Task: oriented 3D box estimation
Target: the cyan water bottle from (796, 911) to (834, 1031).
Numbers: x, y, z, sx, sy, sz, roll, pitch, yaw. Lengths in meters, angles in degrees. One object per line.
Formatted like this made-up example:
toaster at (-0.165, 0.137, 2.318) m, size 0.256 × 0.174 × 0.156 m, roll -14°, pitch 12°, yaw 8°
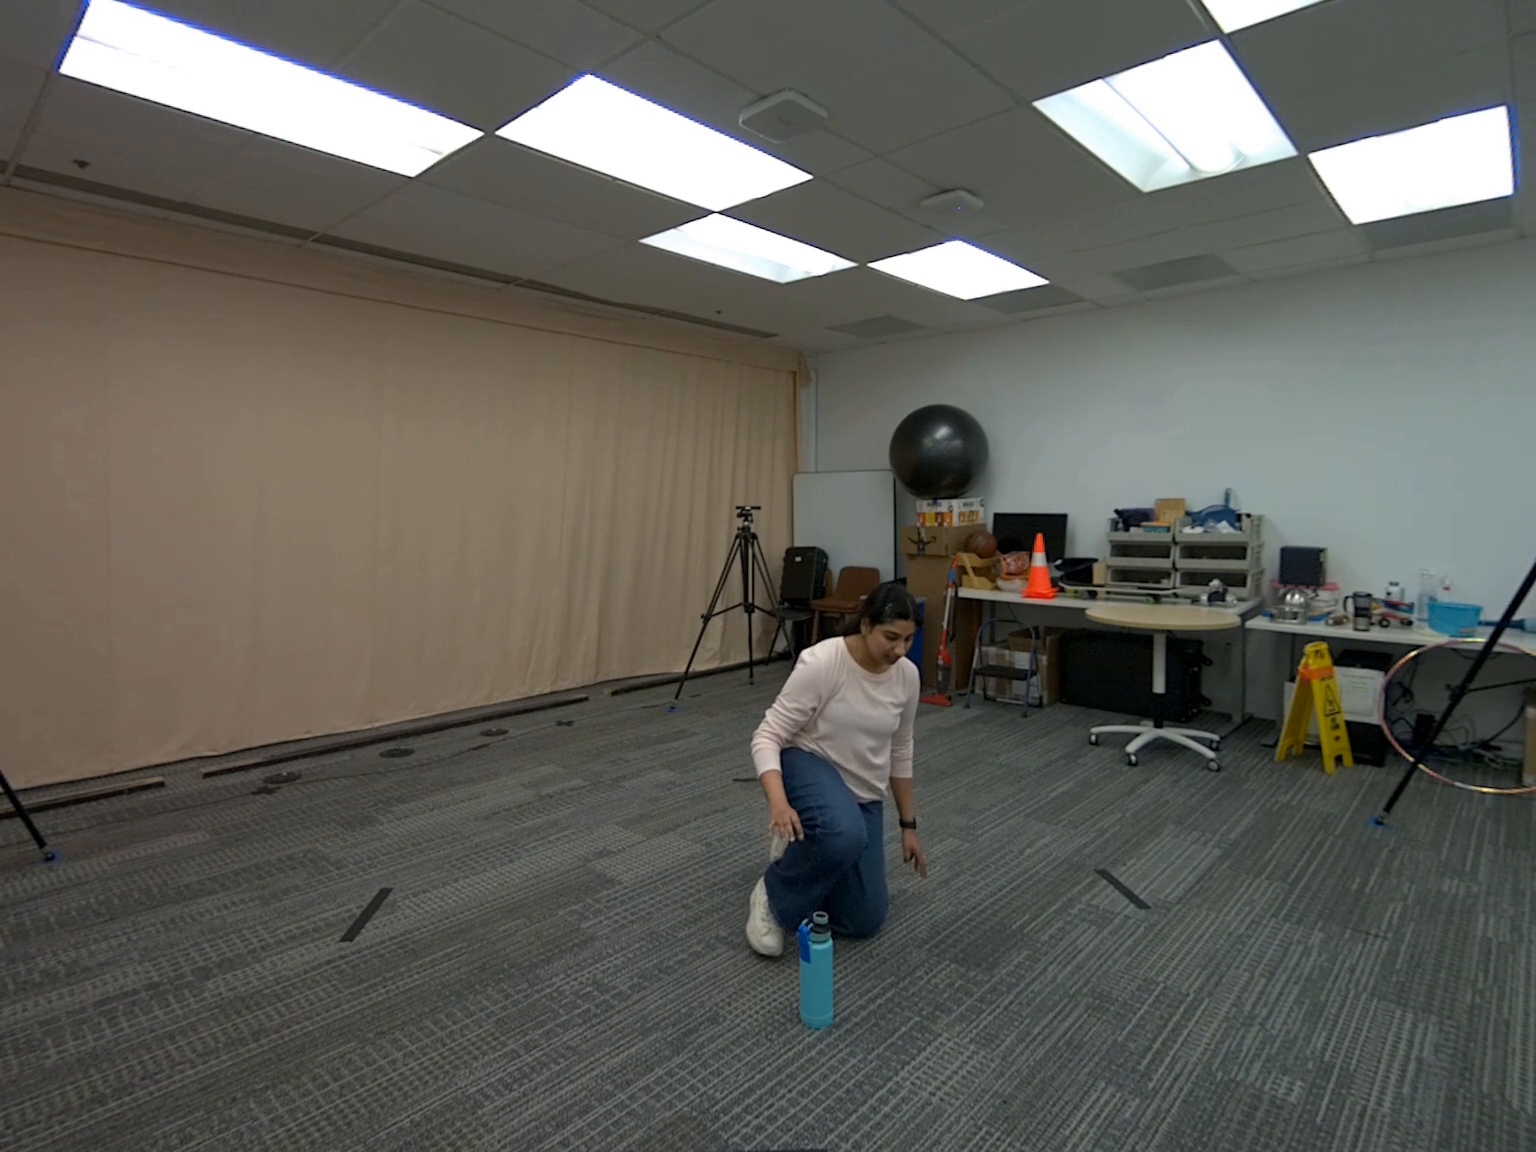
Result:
cyan water bottle at (0.132, 1.057, 2.280) m, size 0.092 × 0.283 × 0.092 m, roll 0°, pitch 3°, yaw -2°
